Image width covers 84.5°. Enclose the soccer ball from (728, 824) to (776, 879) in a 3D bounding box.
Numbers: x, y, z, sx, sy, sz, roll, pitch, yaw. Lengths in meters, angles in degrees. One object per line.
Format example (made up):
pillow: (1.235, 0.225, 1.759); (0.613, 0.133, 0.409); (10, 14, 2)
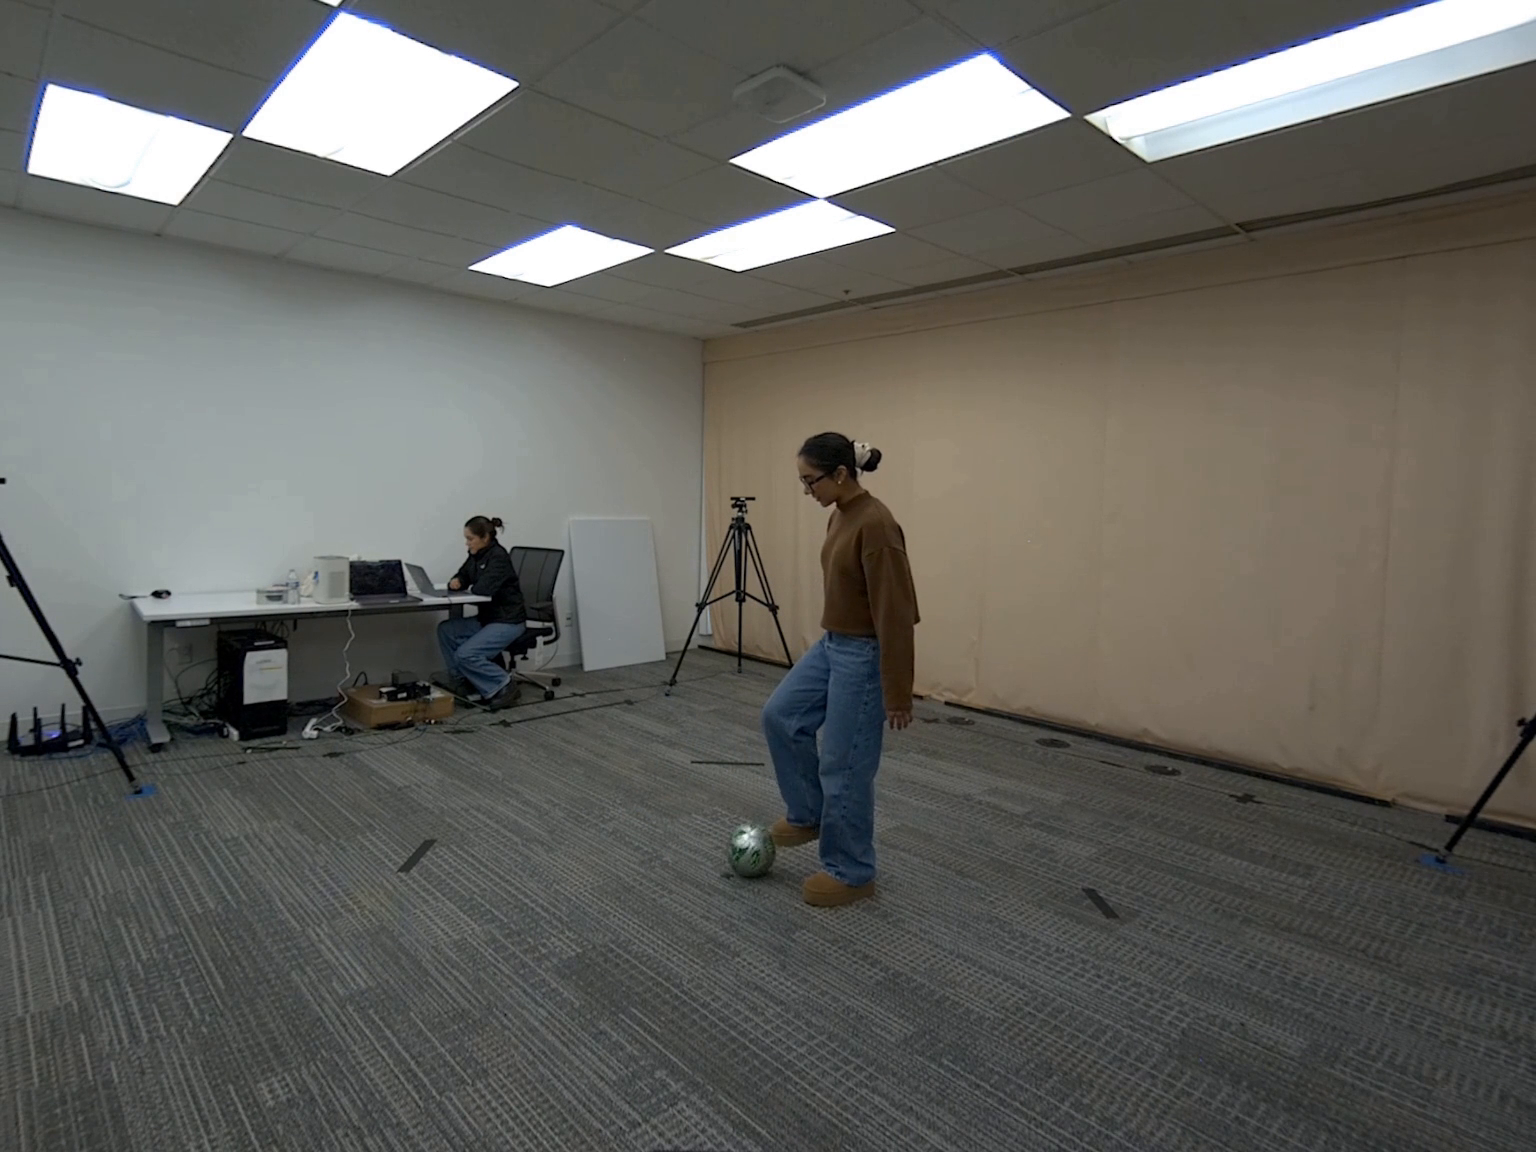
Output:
soccer ball: (-0.070, 1.009, 3.120); (0.187, 0.187, 0.188); (1, 4, -1)
